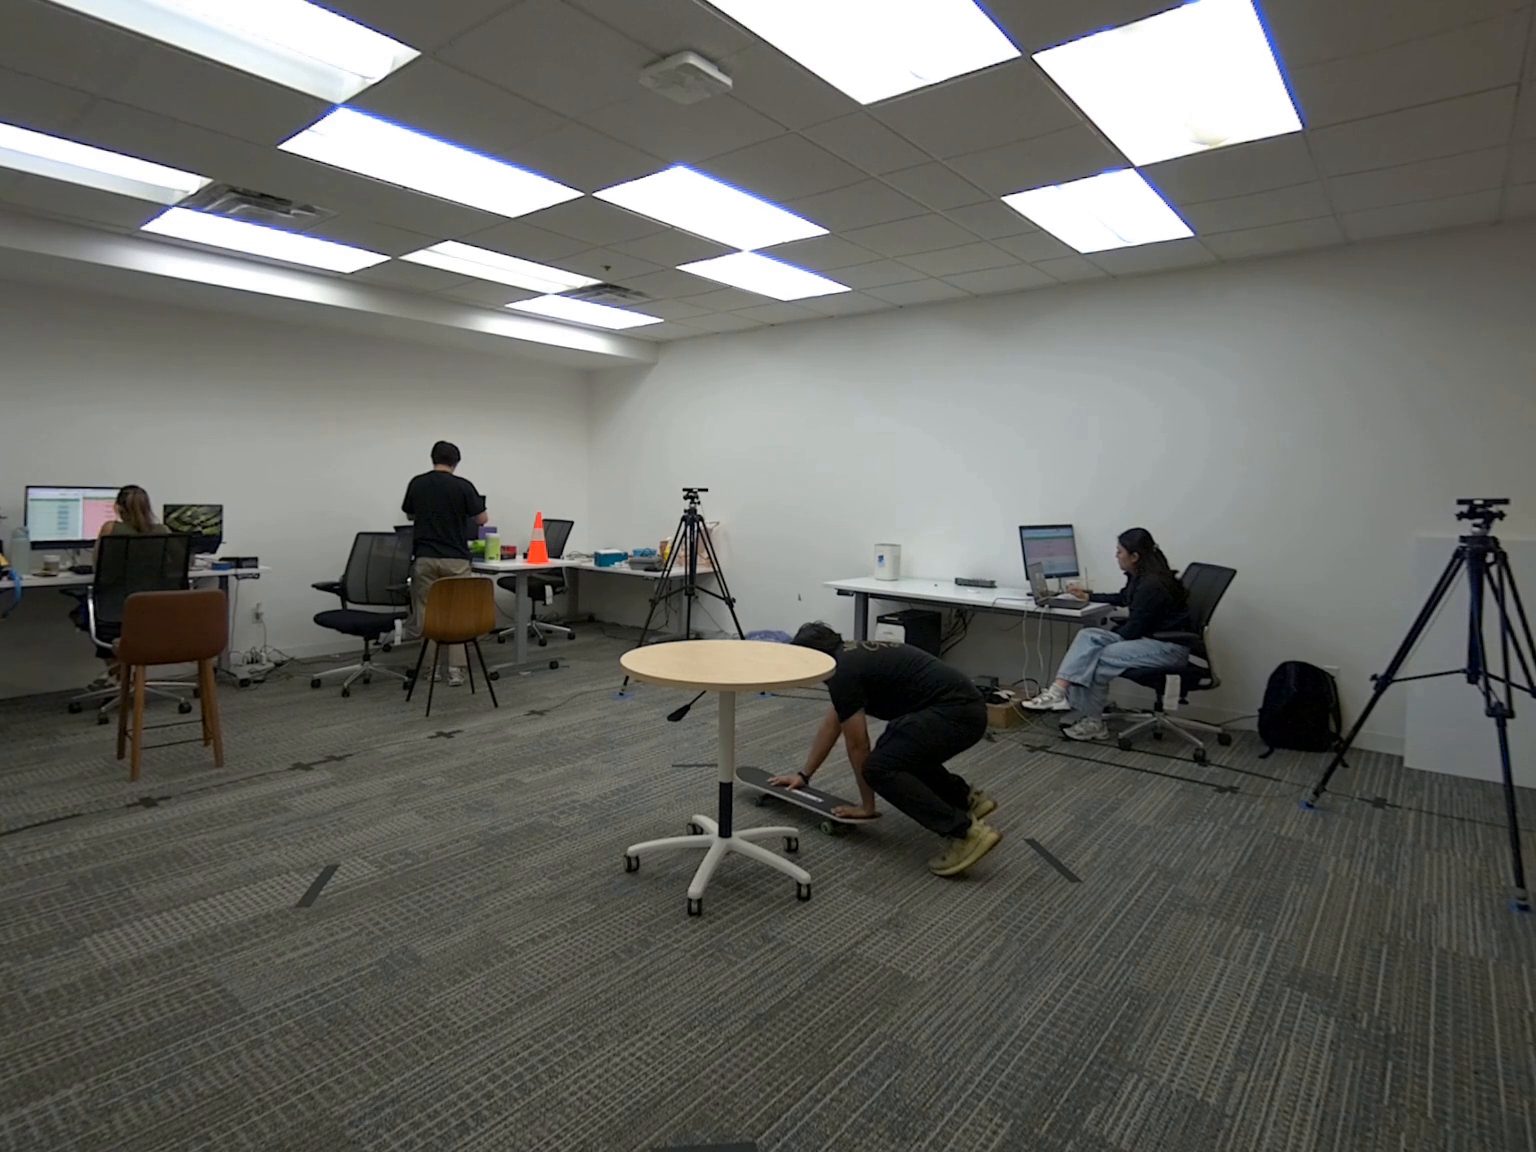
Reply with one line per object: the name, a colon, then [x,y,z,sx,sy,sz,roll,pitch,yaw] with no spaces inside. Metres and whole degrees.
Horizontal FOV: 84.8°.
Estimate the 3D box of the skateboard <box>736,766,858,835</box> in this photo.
skateboard: [0.137,0.965,3.664,0.187,0.110,0.813,0,5,-43]
